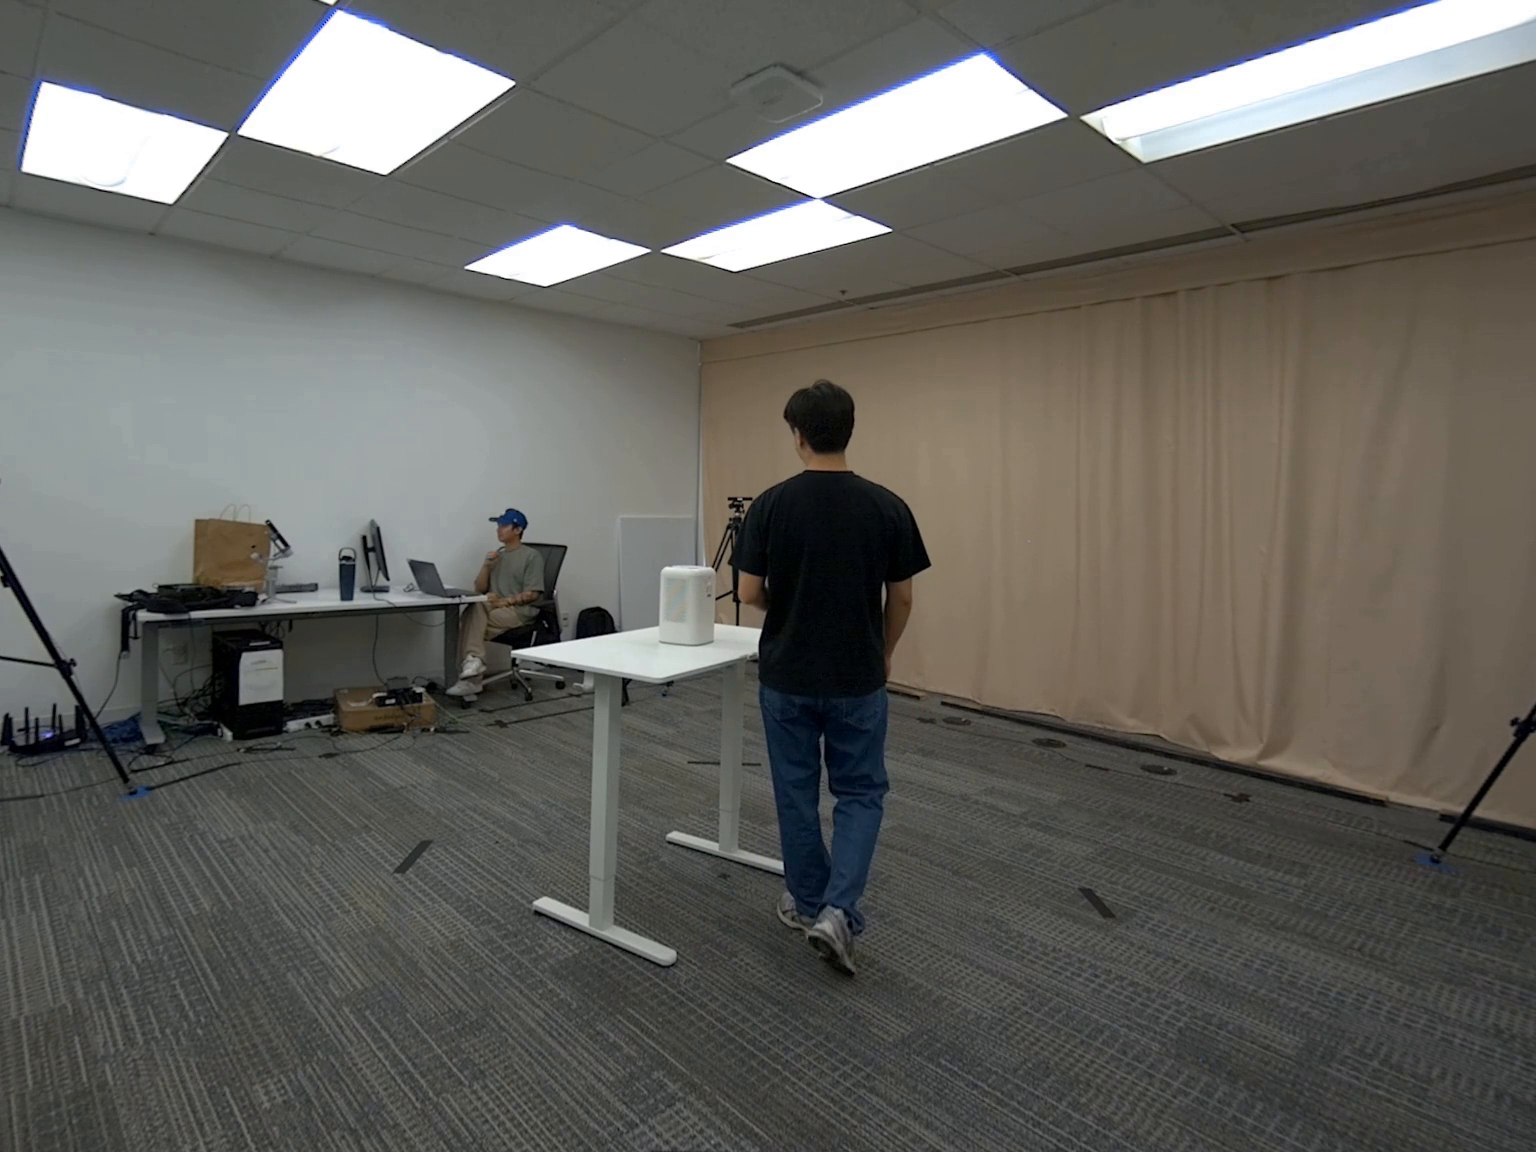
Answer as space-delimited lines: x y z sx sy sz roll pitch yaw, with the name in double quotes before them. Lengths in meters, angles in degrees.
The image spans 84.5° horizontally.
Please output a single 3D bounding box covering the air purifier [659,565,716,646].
"air purifier" -0.290 0.101 2.972 0.175 0.264 0.168 5 5 26
